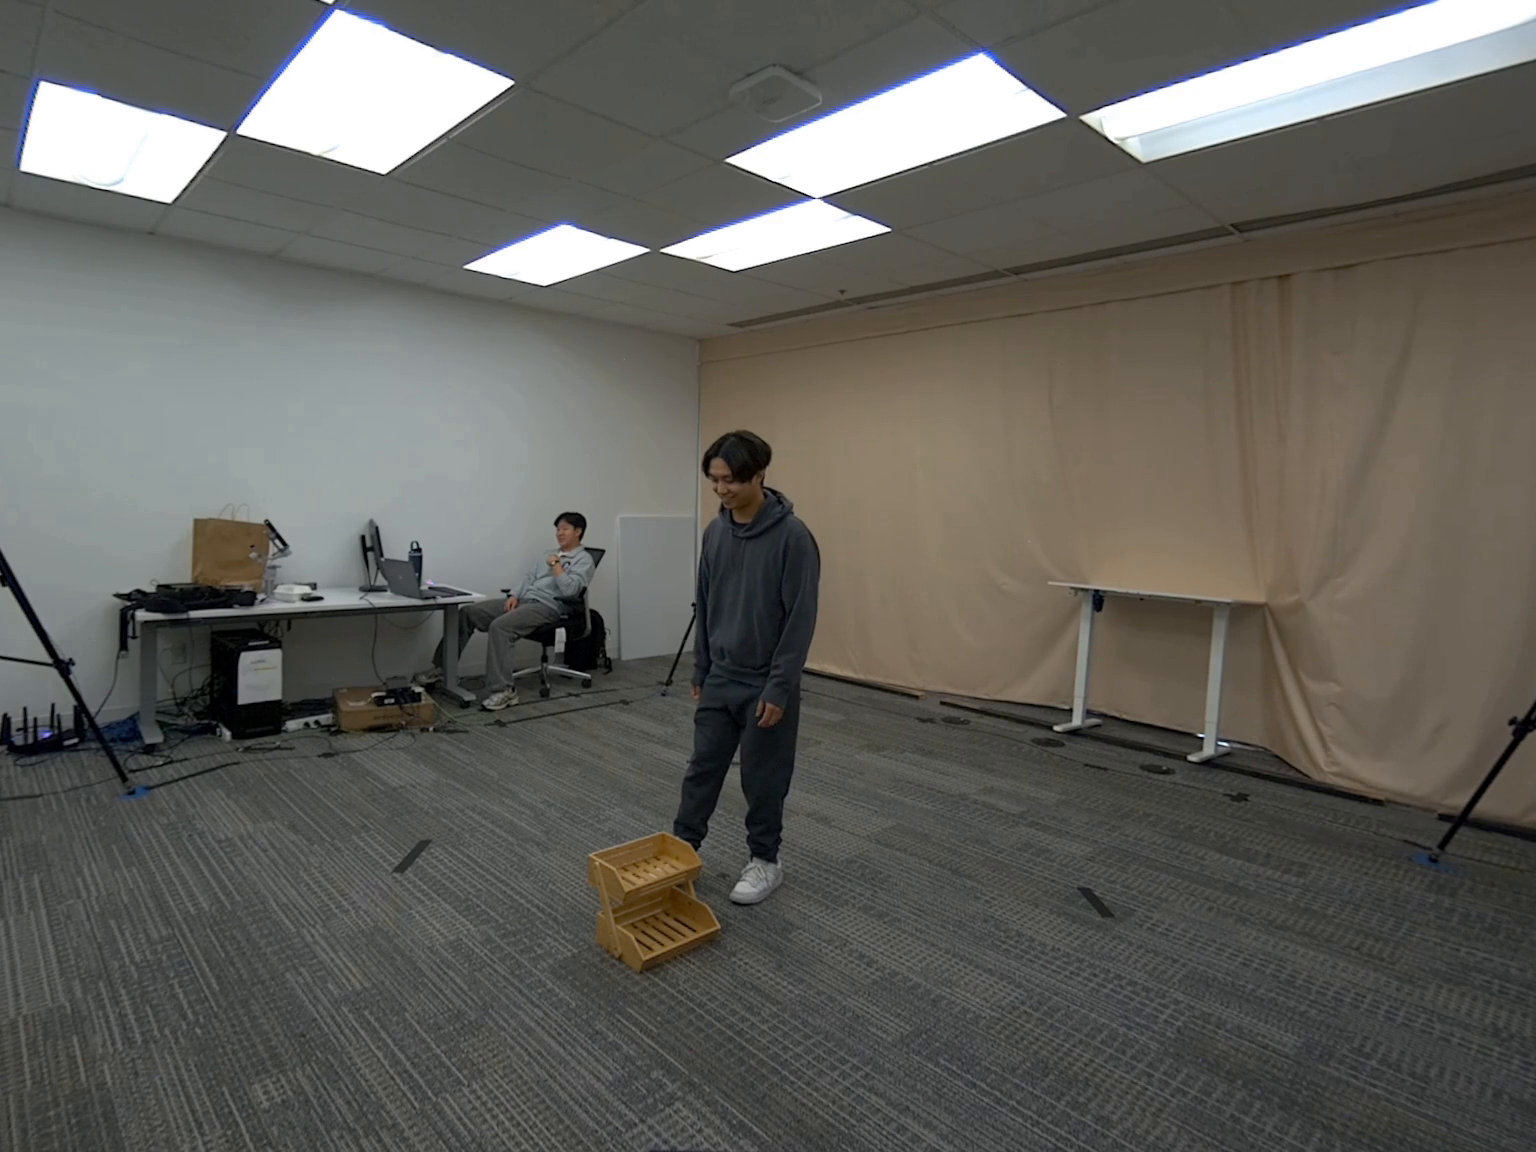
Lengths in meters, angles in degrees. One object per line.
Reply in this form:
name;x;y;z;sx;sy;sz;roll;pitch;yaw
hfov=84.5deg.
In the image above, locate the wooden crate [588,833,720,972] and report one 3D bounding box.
wooden crate;-0.363;1.012;2.642;0.317;0.273;0.309;-2;5;-44
